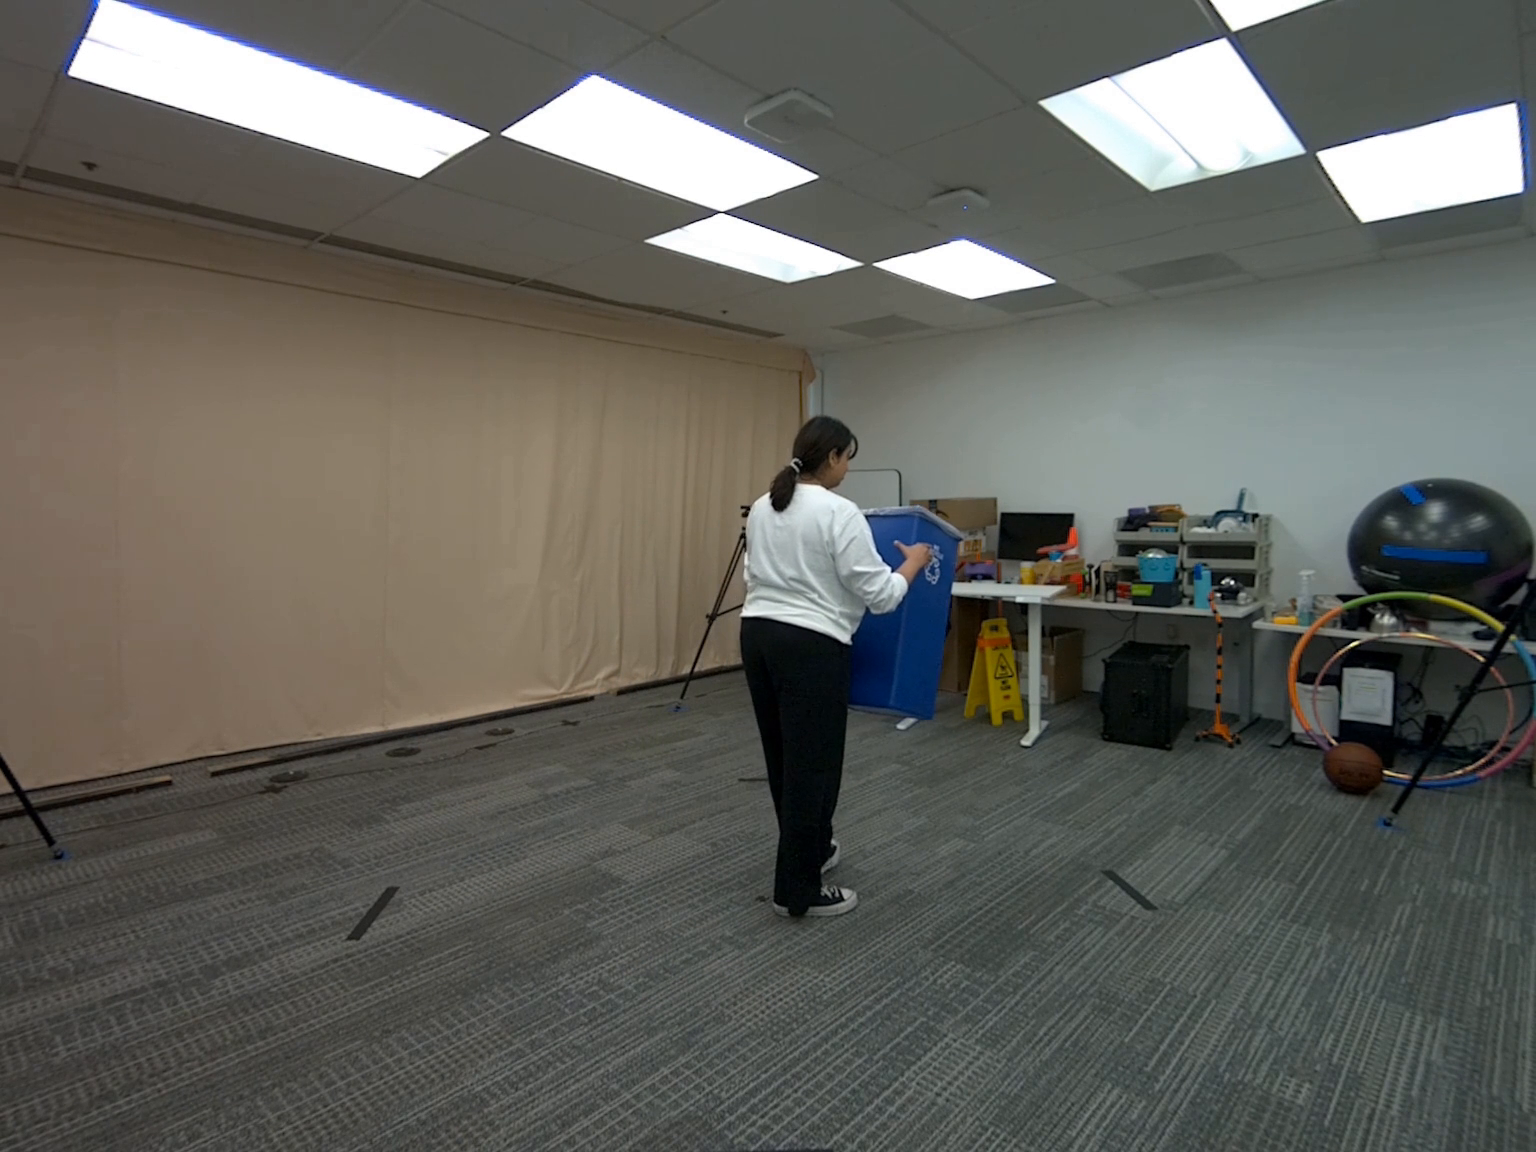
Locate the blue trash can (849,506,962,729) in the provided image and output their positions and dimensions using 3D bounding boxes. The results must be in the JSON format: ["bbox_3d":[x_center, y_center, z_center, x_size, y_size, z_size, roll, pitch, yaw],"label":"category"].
[{"bbox_3d":[0.459,0.142,3.140,0.390,0.717,0.360,-1,-15,37],"label":"blue trash can"}]
